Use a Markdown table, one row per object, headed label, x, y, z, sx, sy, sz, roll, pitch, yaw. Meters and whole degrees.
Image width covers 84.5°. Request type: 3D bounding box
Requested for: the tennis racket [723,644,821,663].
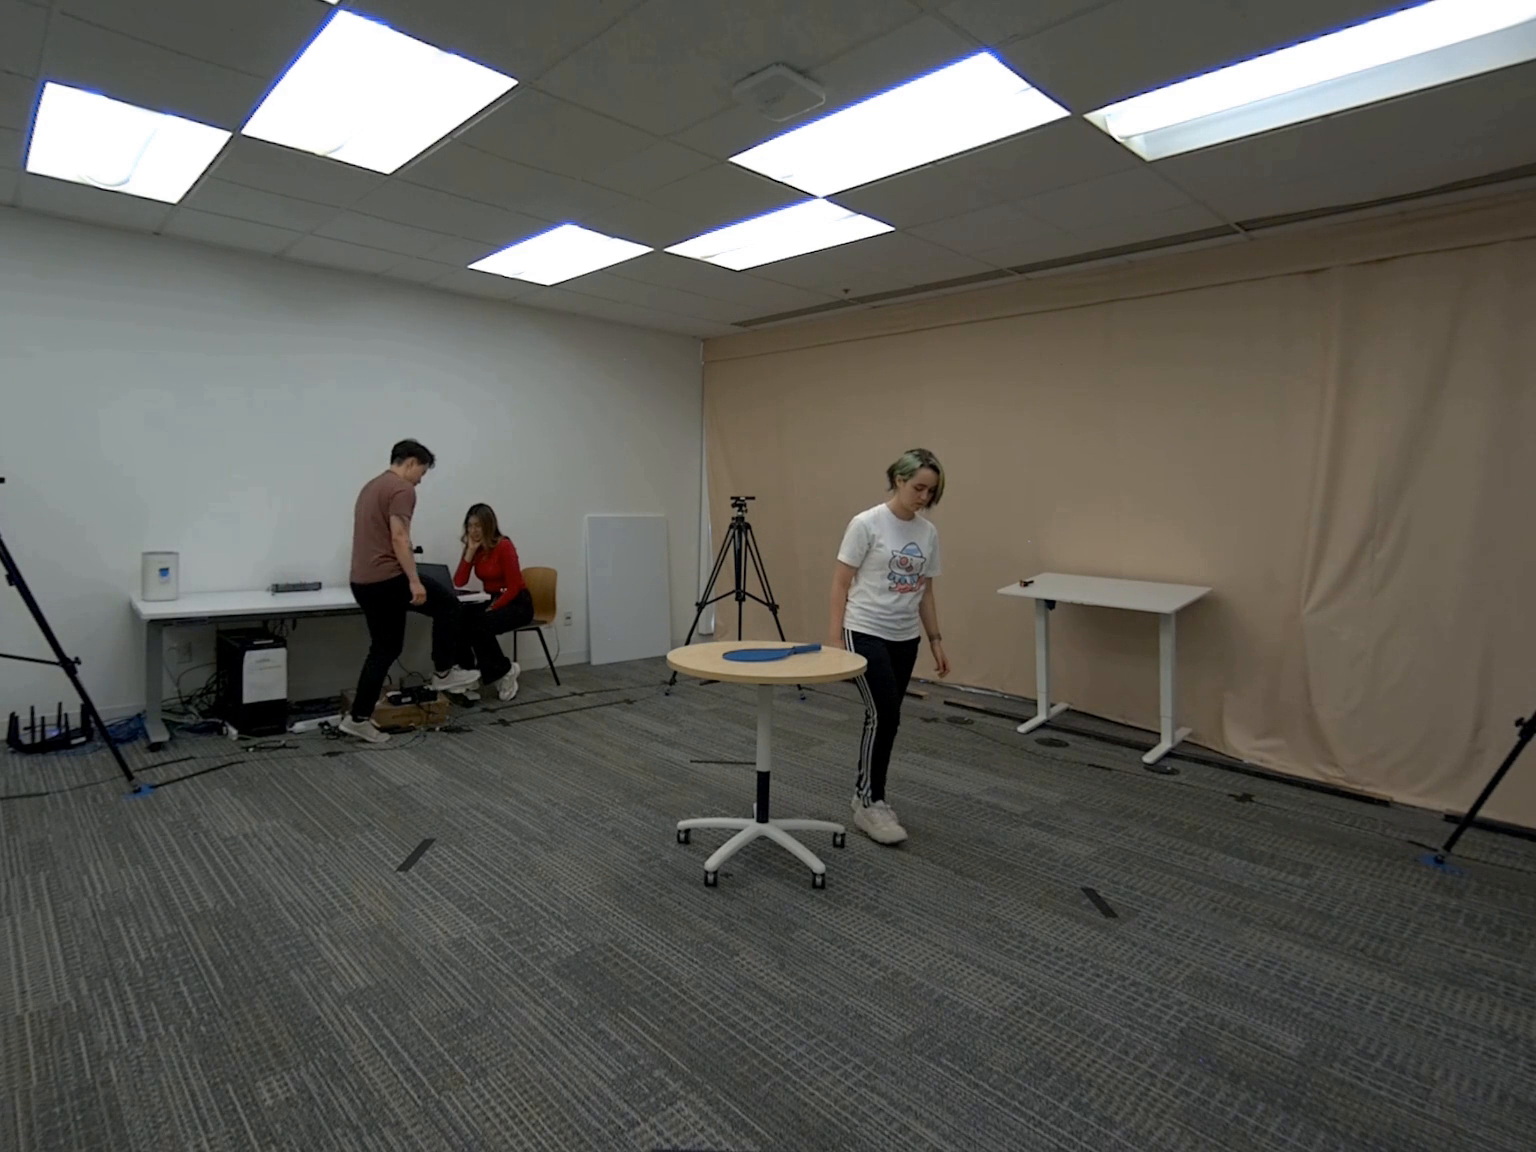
| label | x | y | z | sx | sy | sz | roll | pitch | yaw |
| --- | --- | --- | --- | --- | --- | --- | --- | --- | --- |
| tennis racket | 0.015 | 0.300 | 3.265 | 0.424 | 0.031 | 0.219 | -3 | 7 | -33 |
